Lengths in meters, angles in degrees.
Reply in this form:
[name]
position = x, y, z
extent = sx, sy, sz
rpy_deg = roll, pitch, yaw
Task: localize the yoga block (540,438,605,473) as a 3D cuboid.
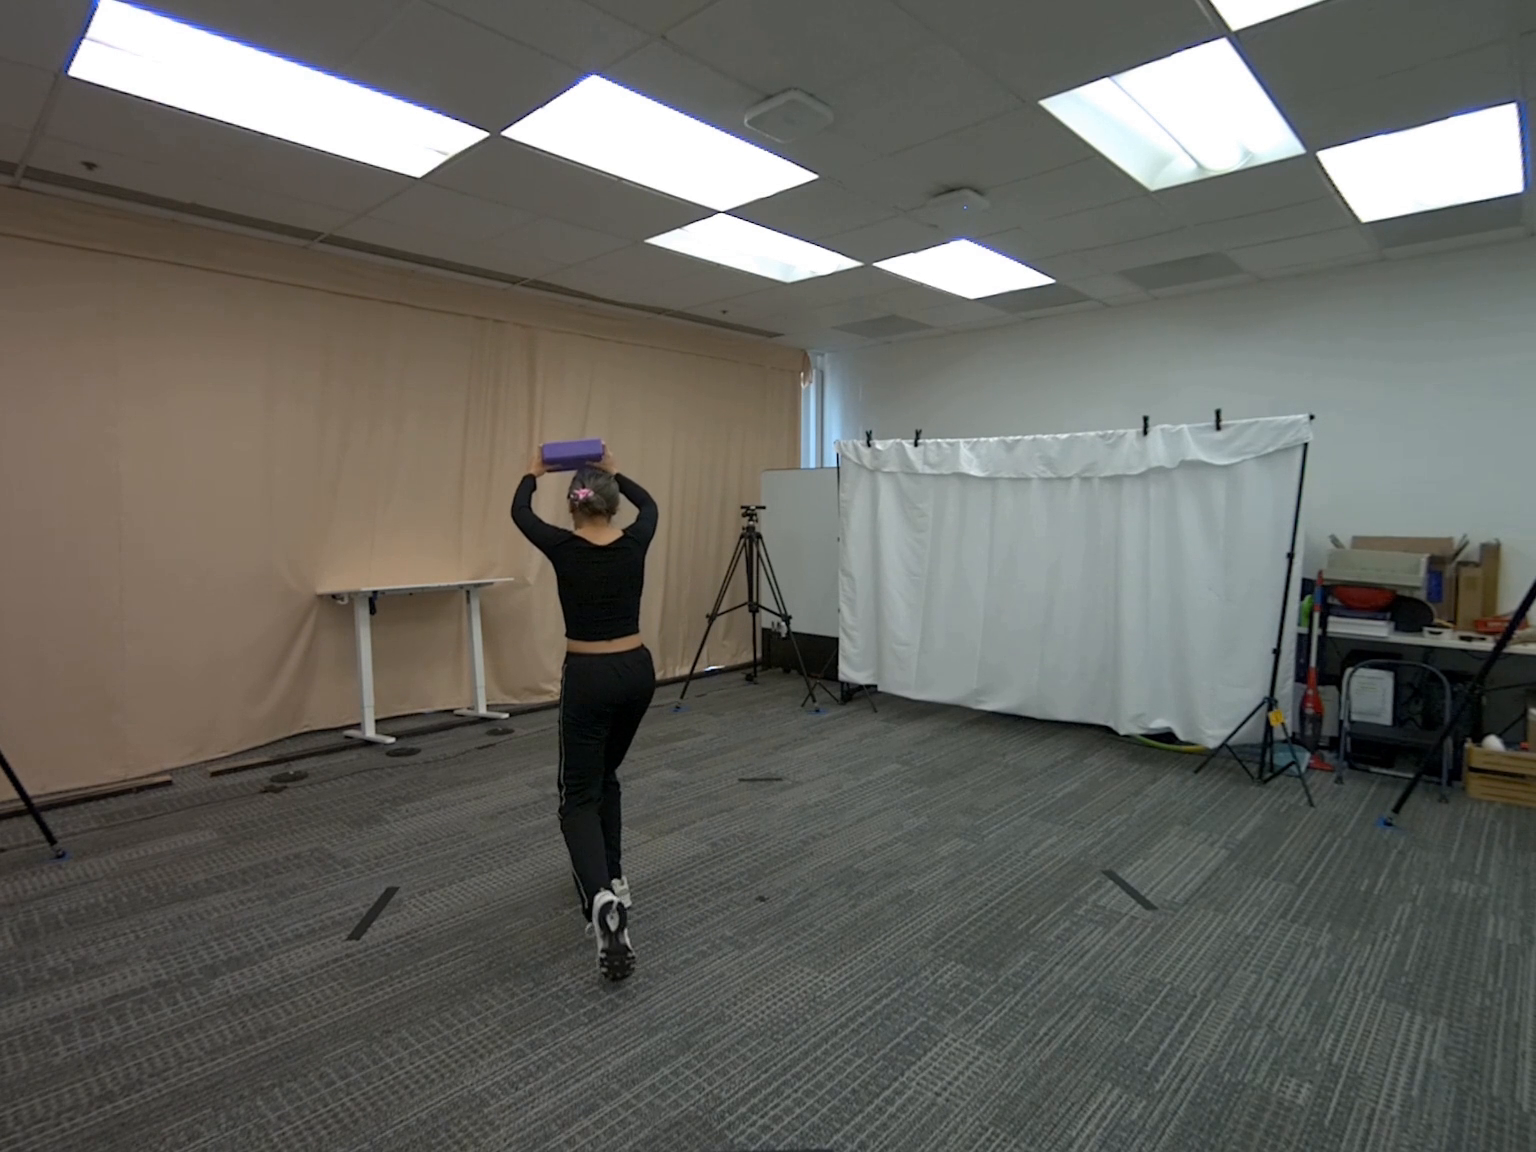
[yoga block]
position = -0.775, -0.469, 3.319
extent = 0.227, 0.077, 0.149
rpy_deg = -6, -14, -12
